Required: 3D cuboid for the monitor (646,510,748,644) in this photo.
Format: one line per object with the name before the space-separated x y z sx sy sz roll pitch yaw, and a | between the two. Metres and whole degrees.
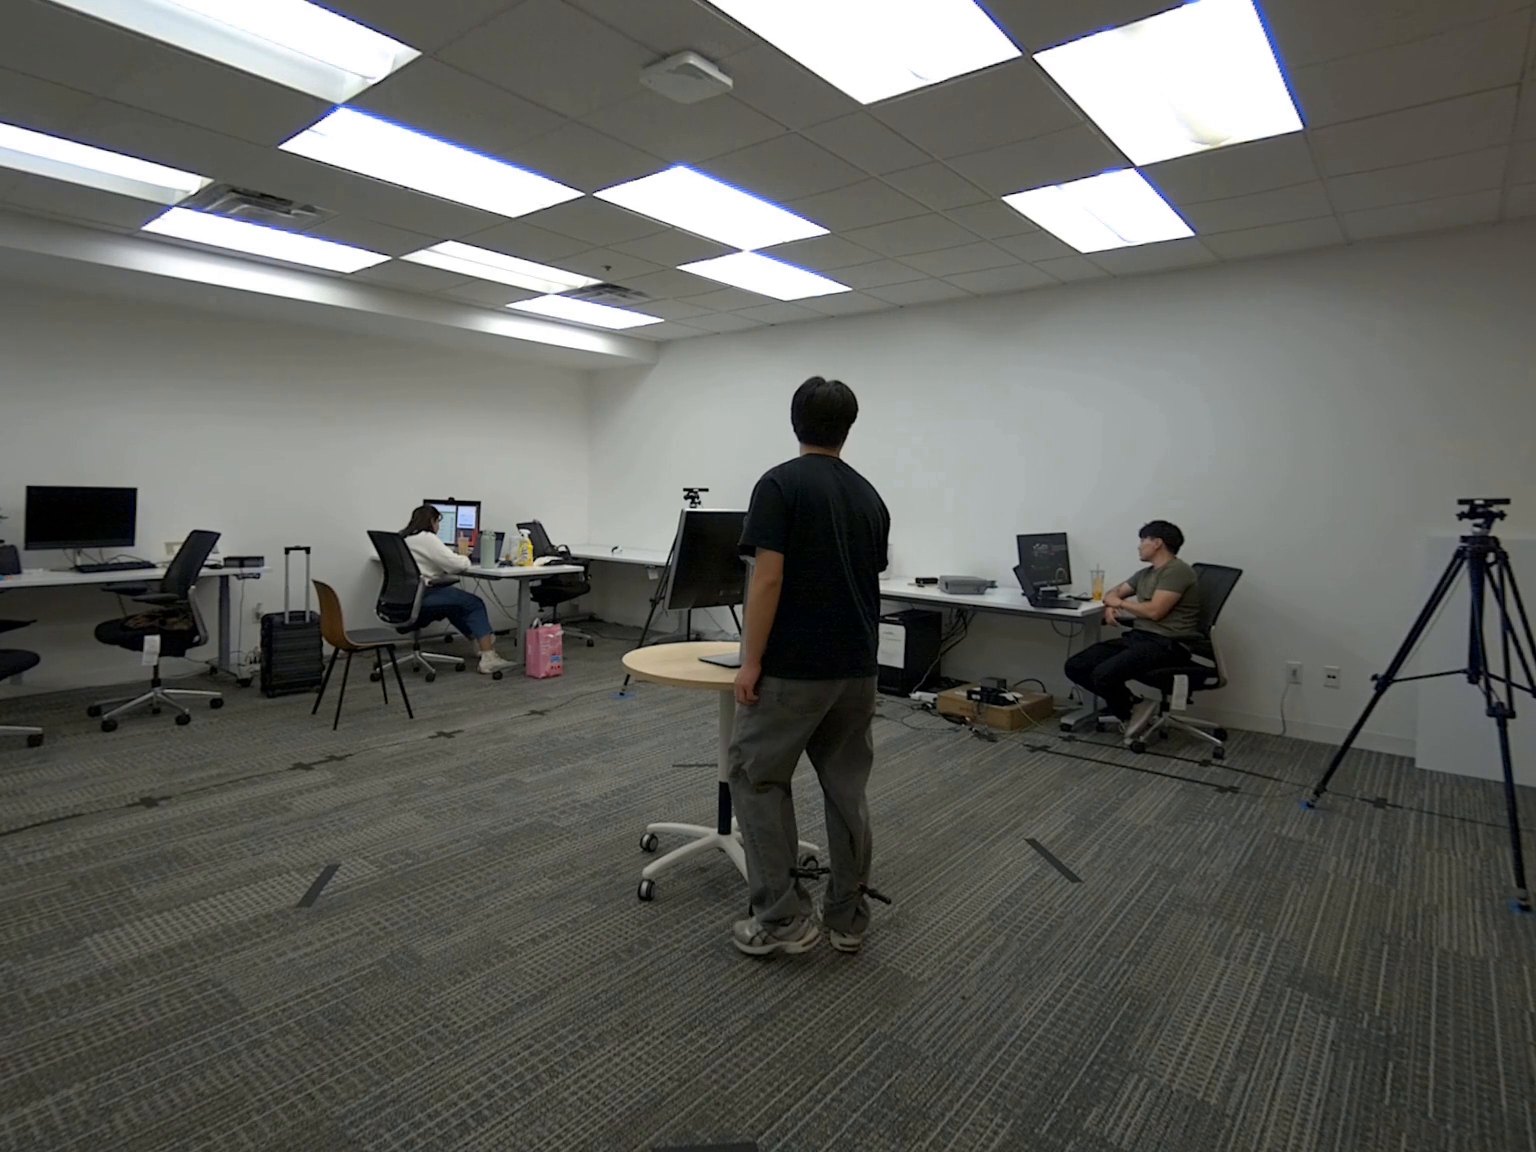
monitor | -0.109 0.040 3.043 0.545 0.565 0.229 -1 2 -38
